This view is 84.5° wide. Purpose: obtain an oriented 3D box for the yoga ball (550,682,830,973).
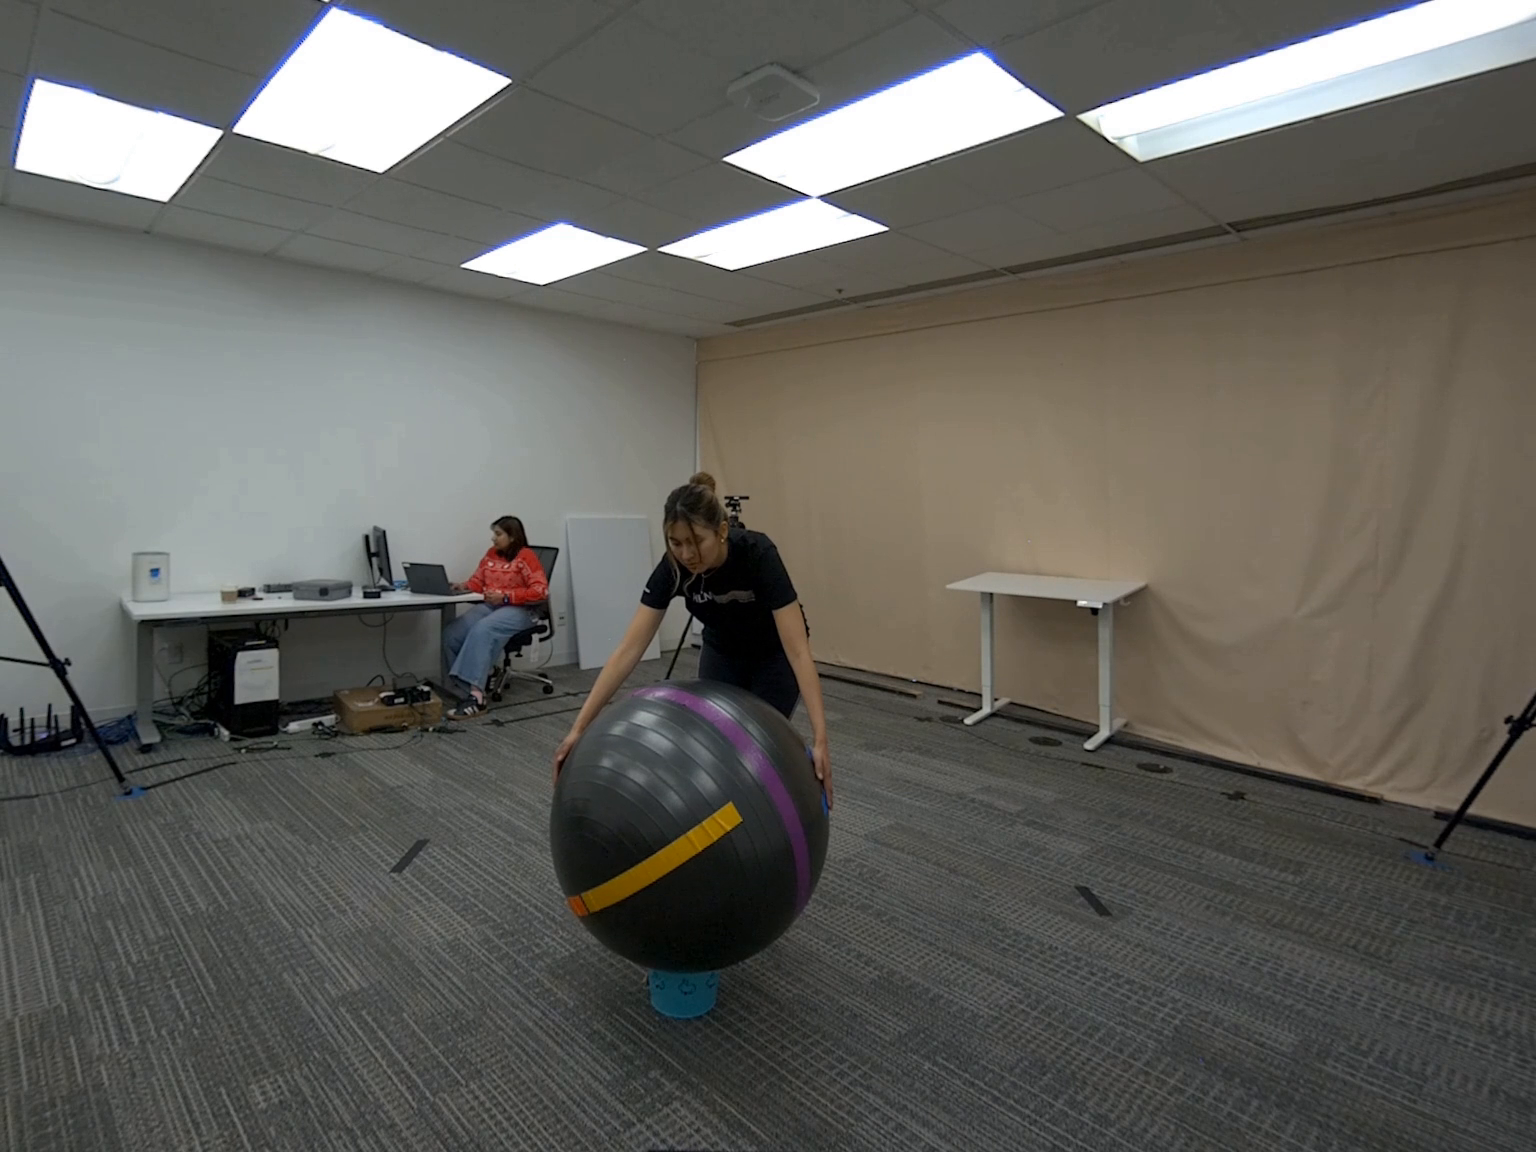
[{"bbox_3d":[-0.211,0.668,2.294,0.757,0.756,0.761,1,4,-1],"label":"yoga ball"}]
